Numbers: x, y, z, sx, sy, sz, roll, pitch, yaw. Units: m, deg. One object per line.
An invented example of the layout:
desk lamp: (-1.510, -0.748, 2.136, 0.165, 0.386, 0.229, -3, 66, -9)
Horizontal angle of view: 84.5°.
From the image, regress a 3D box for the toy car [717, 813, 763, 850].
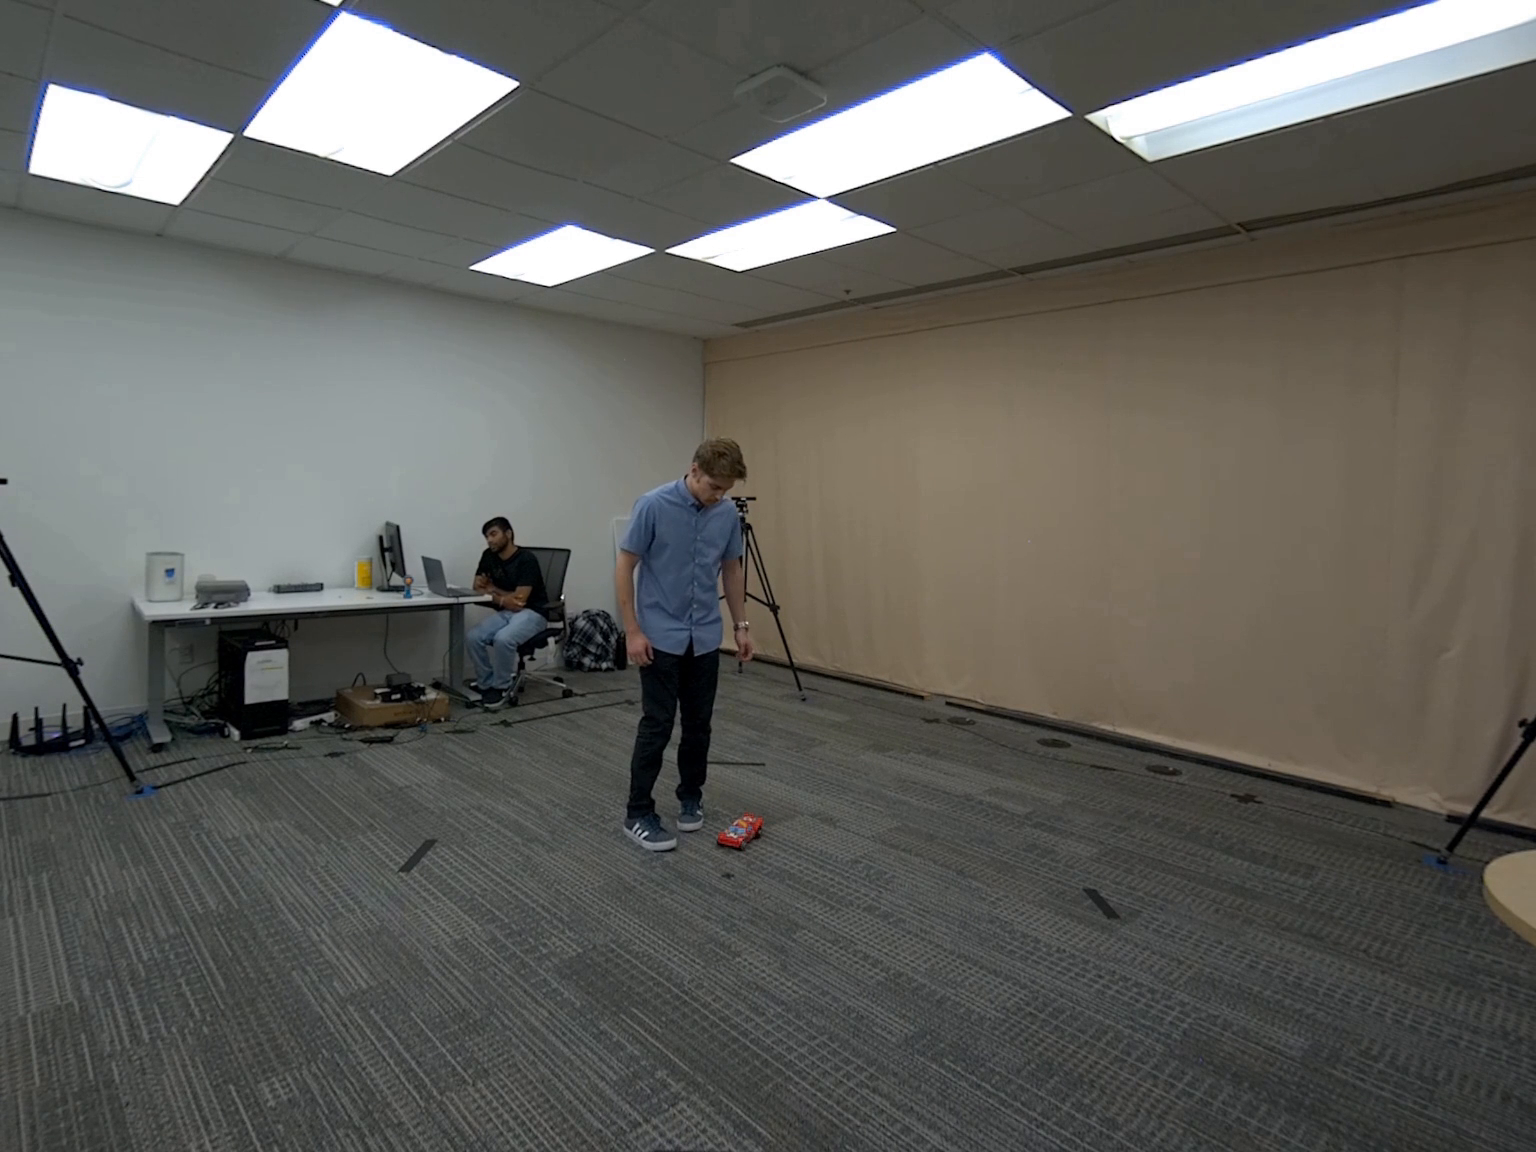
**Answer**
toy car: (-0.112, 1.047, 3.441, 0.133, 0.082, 0.252, 3, 15, 26)
